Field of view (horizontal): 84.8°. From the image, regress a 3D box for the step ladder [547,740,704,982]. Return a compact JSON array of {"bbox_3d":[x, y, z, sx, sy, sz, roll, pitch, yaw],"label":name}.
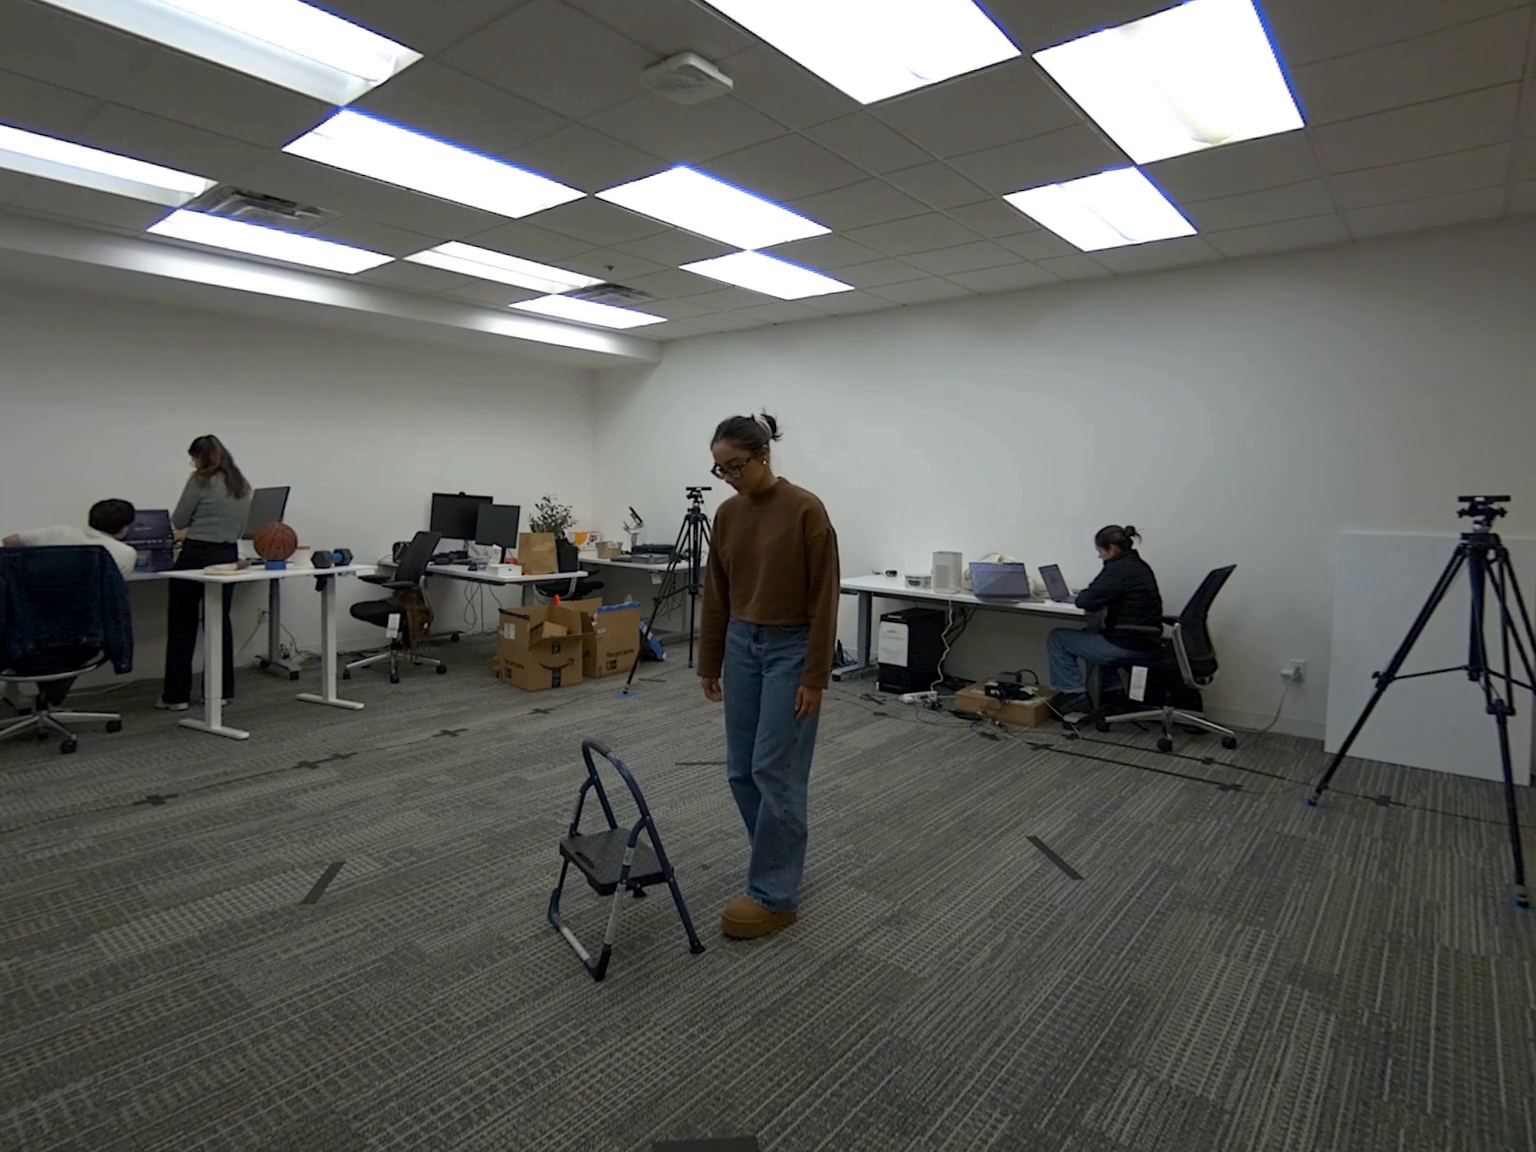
[{"bbox_3d":[-0.456,0.807,2.621,0.339,0.604,0.444,-1,5,-34],"label":"step ladder"}]
